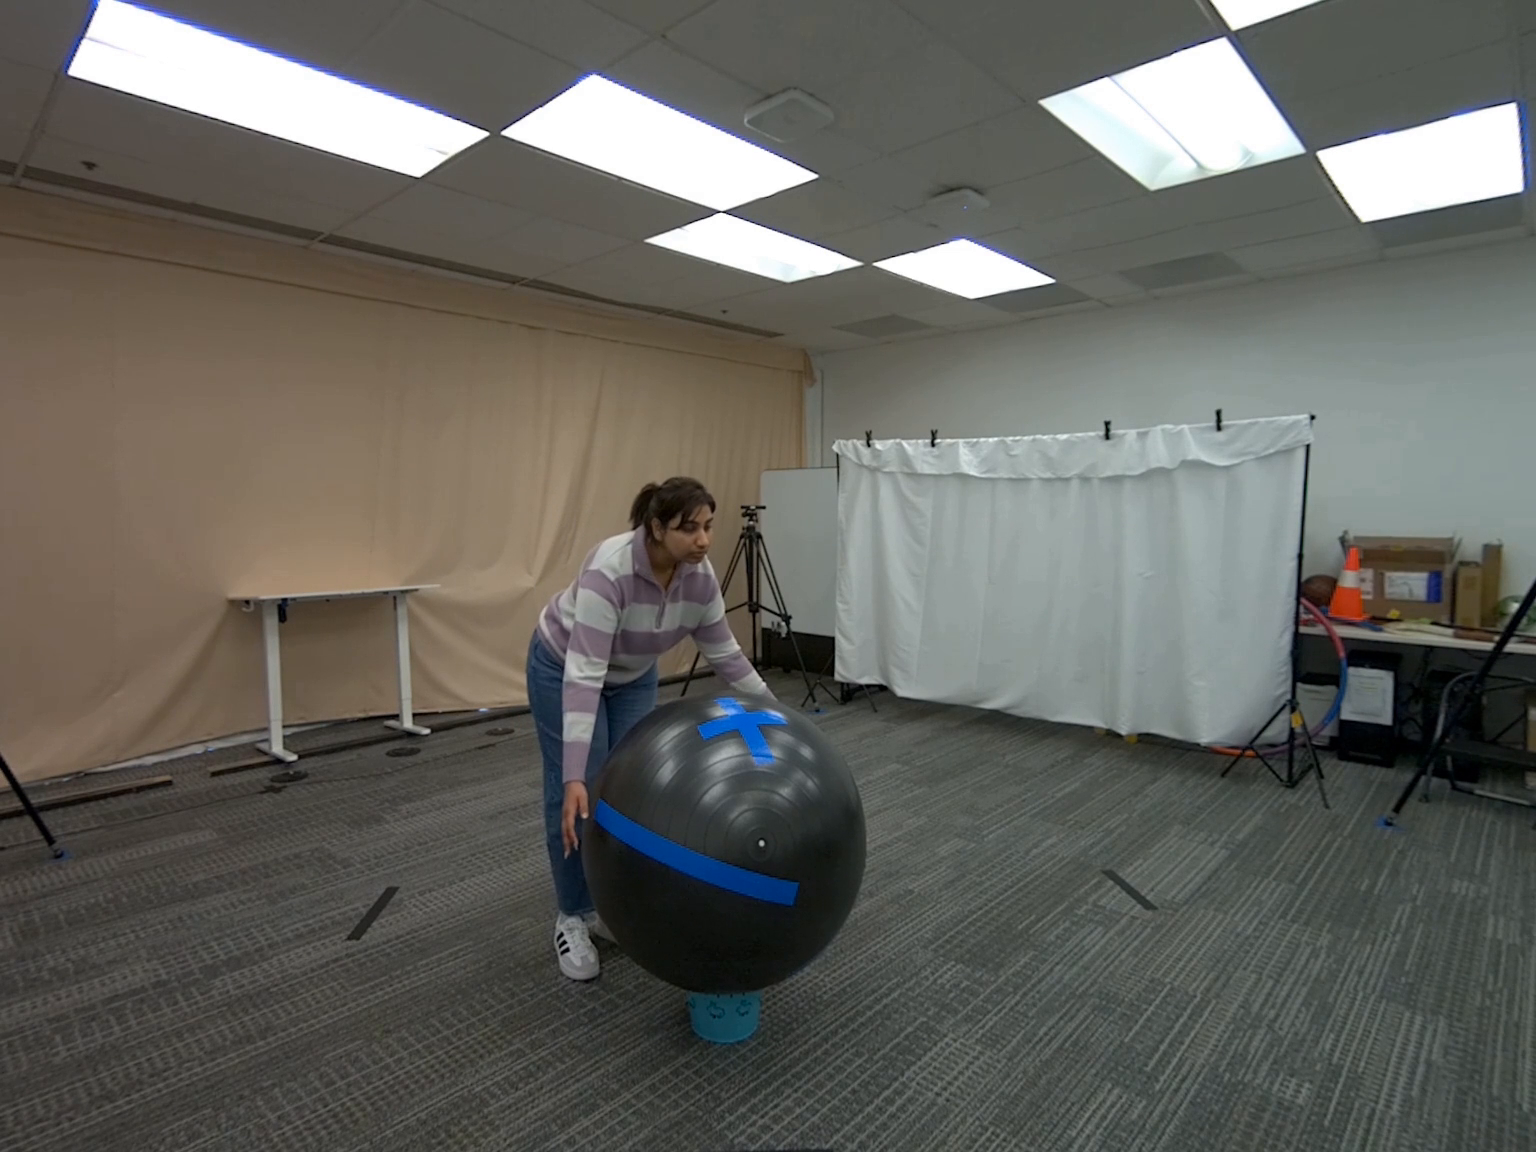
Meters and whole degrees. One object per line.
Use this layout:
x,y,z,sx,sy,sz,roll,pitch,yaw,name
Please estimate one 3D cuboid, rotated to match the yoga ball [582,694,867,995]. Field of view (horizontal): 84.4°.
-0.111,0.699,2.249,0.757,0.756,0.761,0,4,-2,yoga ball
